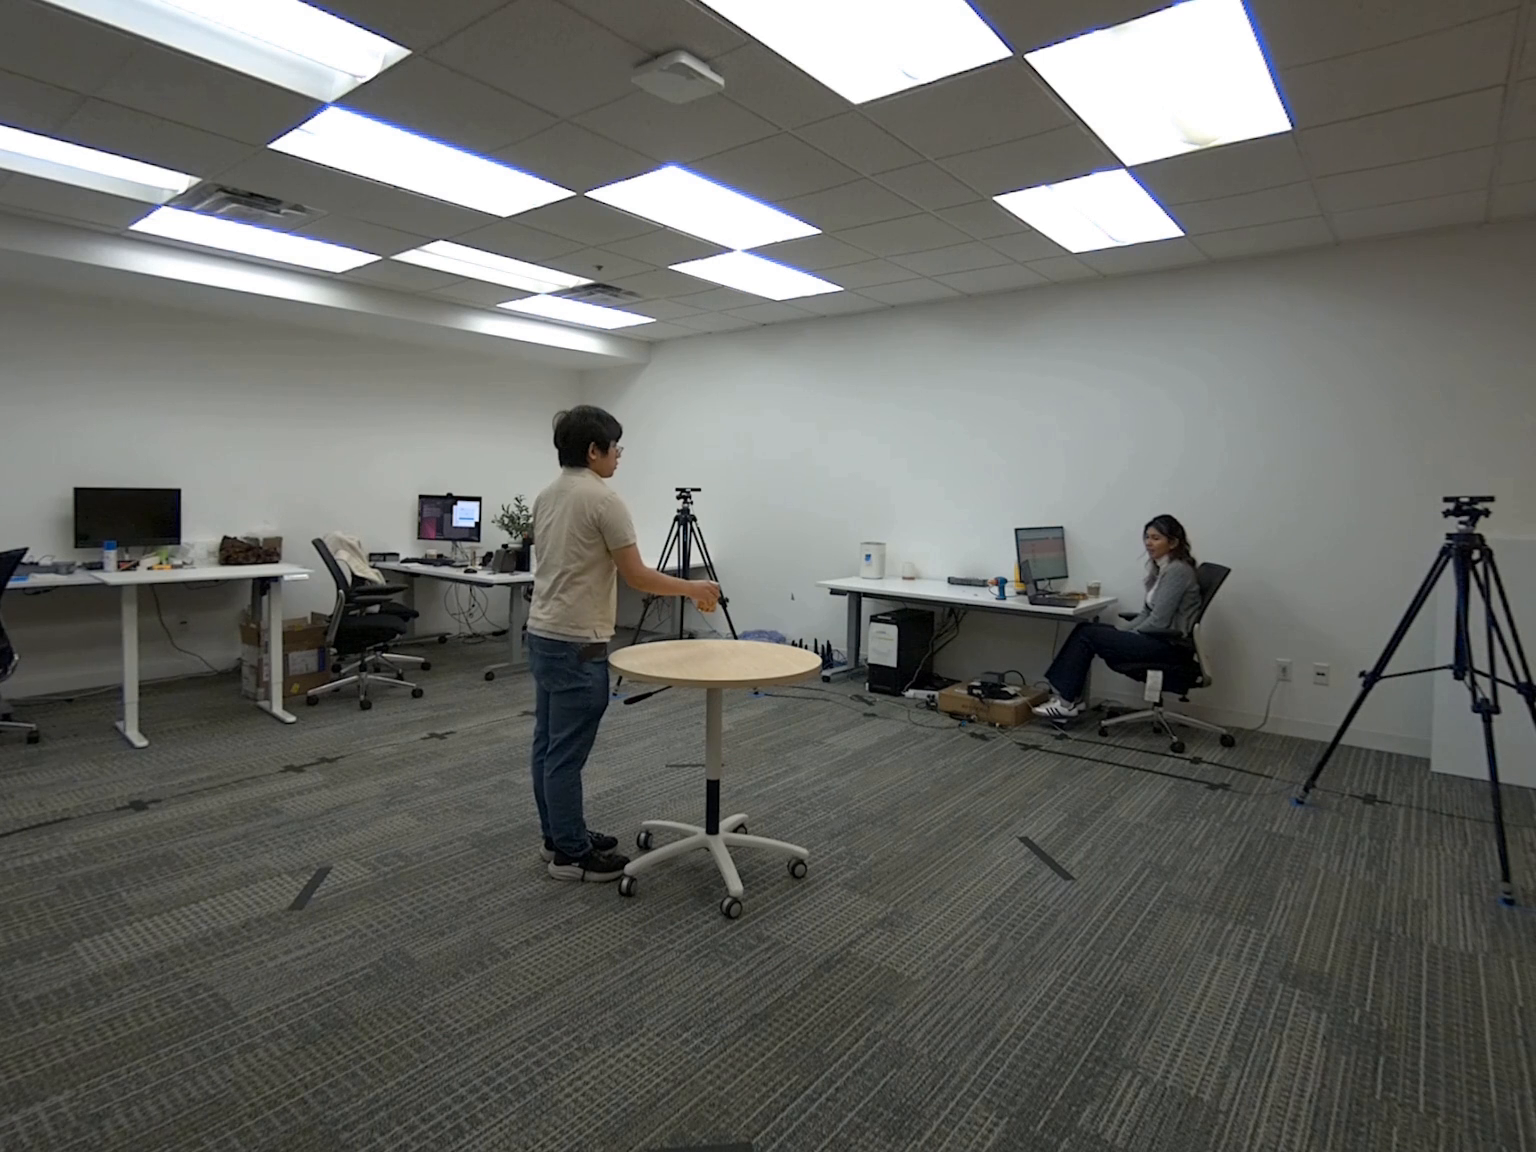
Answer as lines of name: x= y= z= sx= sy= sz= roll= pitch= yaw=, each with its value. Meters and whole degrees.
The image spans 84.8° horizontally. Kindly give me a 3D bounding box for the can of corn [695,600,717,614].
can of corn: x=-0.260 y=0.082 z=3.255 sx=0.074 sy=0.111 sz=0.074 roll=3 pitch=4 yaw=-2
